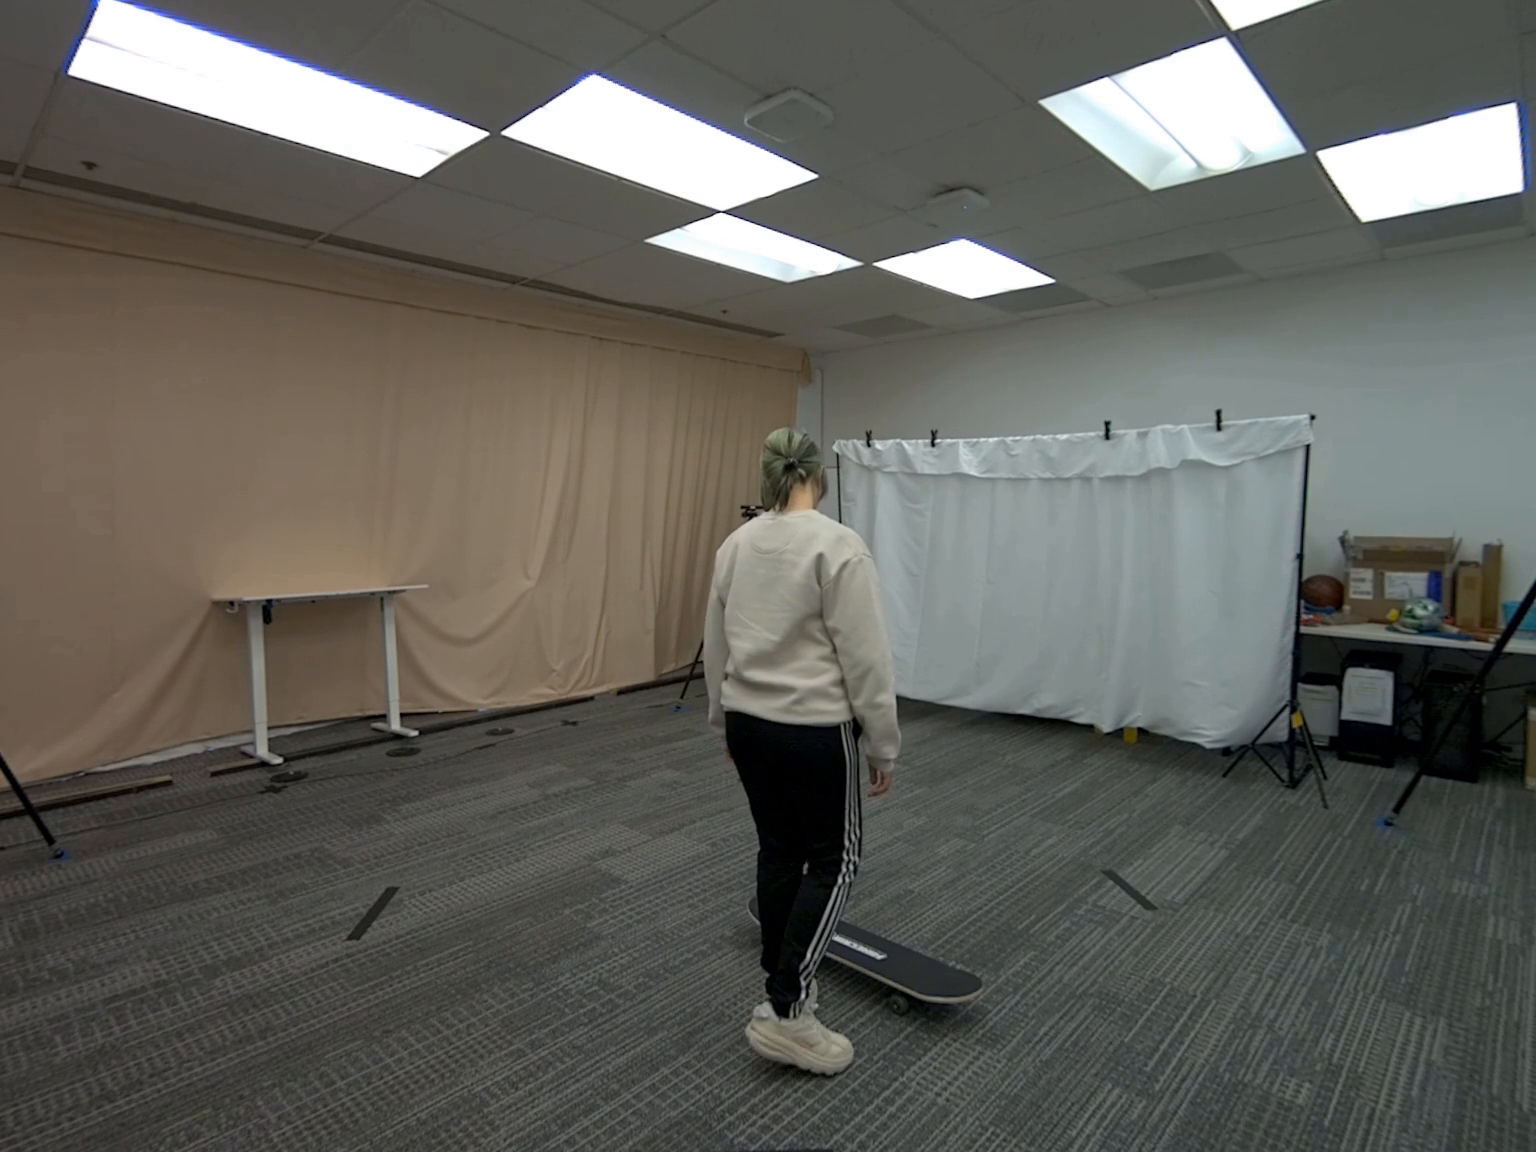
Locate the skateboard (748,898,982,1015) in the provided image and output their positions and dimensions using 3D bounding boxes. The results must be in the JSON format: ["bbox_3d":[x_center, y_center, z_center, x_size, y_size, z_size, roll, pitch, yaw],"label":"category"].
[{"bbox_3d":[0.262,1.125,2.503,0.812,0.110,0.187,4,5,42],"label":"skateboard"}]
